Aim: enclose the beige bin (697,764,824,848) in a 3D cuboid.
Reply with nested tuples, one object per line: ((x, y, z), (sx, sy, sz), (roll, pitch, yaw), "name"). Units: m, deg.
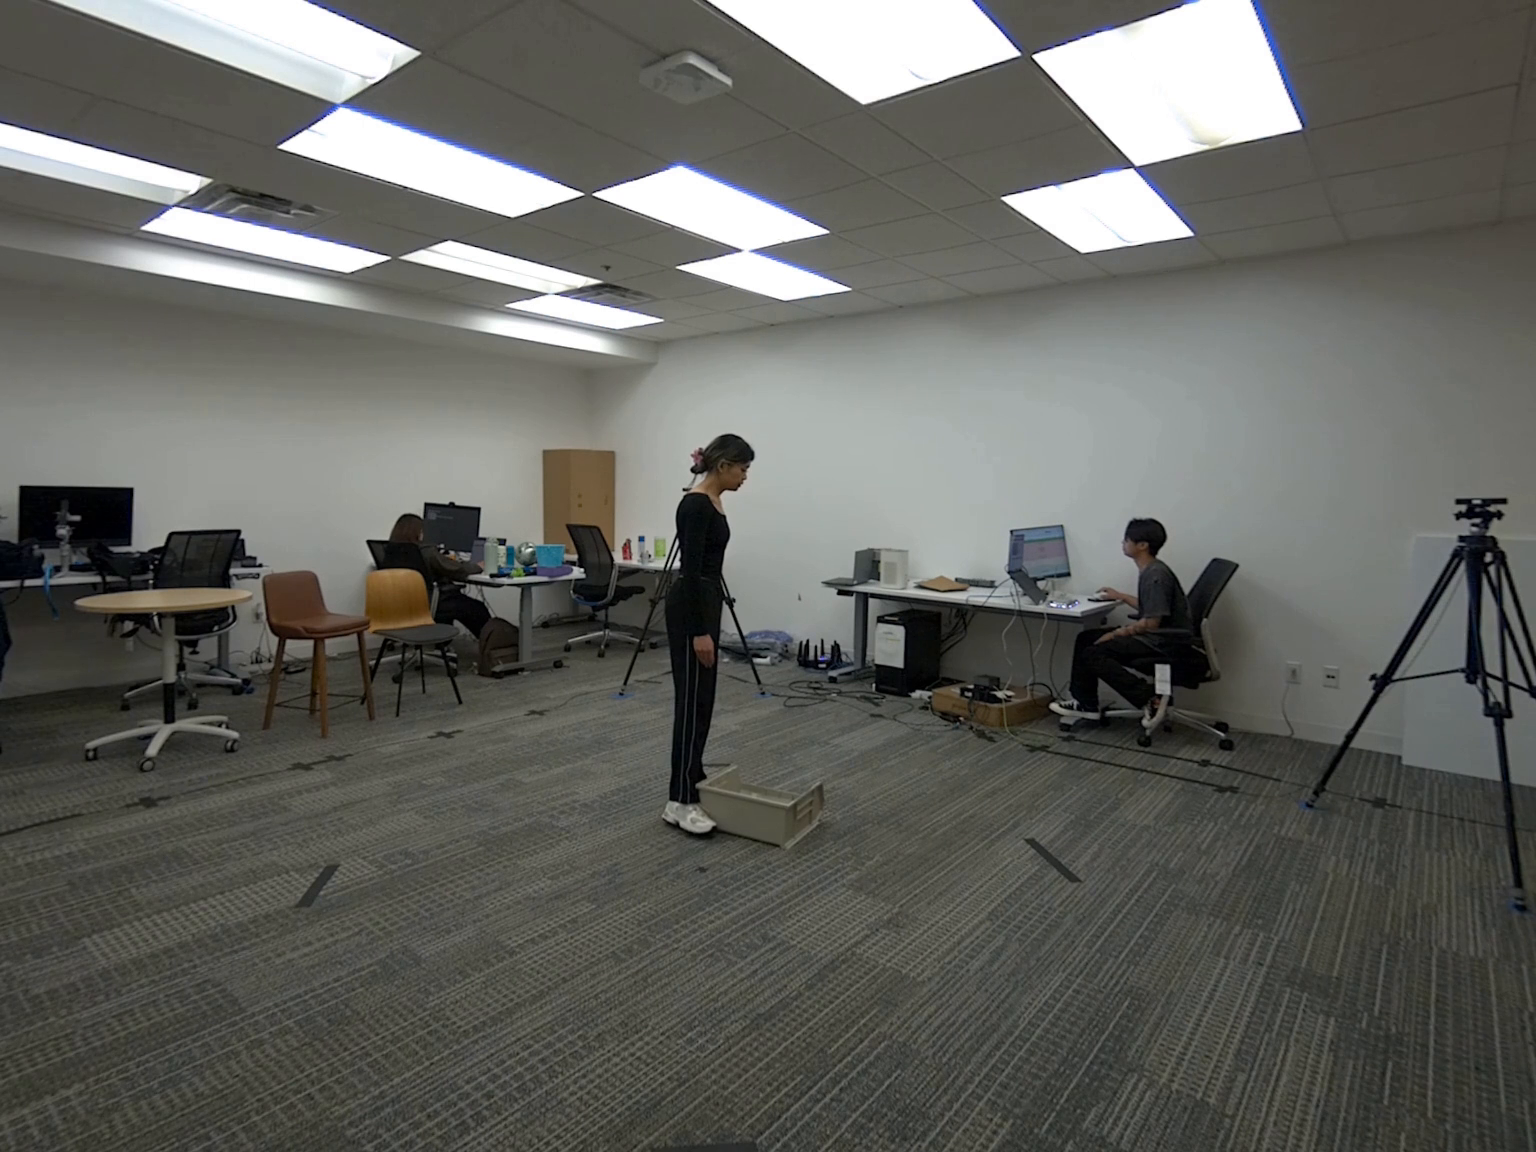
((-0.035, 0.940, 3.543), (0.434, 0.188, 0.368), (4, 7, 28), "beige bin")
